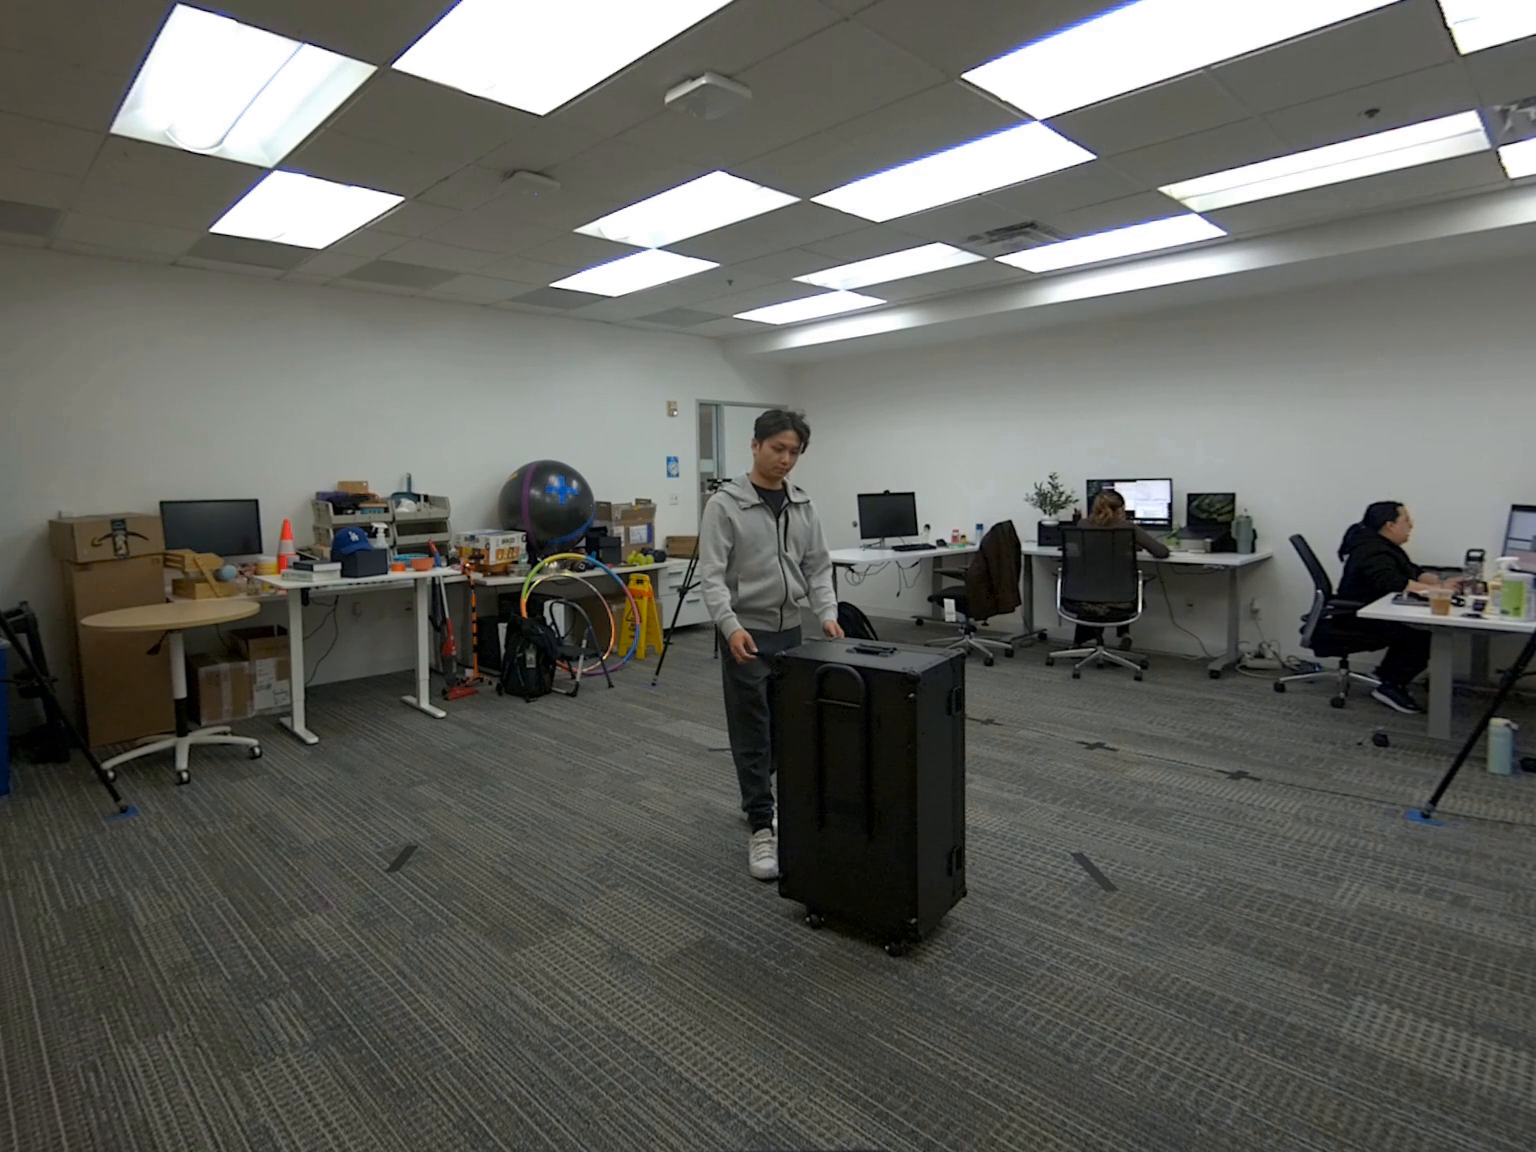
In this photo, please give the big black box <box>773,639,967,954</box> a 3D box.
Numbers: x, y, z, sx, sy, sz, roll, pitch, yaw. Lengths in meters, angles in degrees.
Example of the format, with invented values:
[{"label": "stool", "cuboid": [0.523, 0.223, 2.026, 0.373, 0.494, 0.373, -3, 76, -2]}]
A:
[{"label": "big black box", "cuboid": [0.328, 0.665, 2.671, 0.536, 0.858, 0.386, 2, 5, 36]}]
